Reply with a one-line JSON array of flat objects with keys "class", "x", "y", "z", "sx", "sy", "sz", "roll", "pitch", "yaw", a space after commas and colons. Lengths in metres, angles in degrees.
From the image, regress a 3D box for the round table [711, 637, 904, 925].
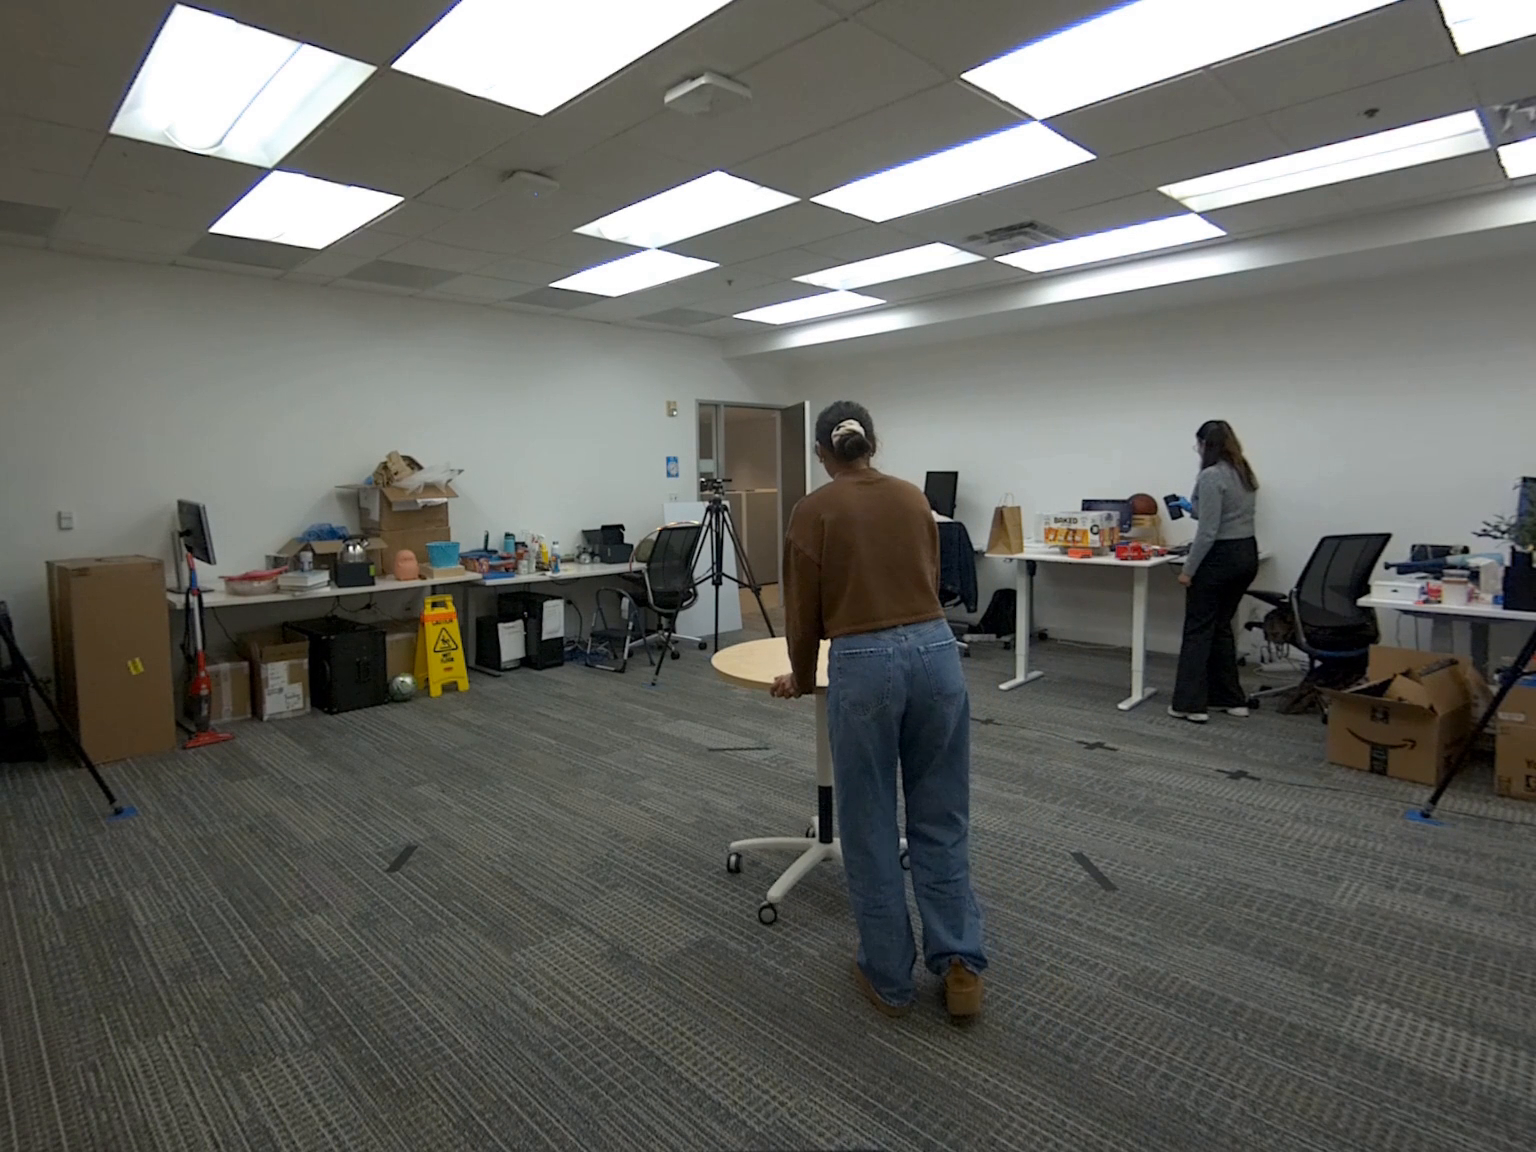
[{"class": "round table", "x": 0.199, "y": 0.670, "z": 2.936, "sx": 0.763, "sy": 0.790, "sz": 0.768, "roll": -1, "pitch": 5, "yaw": -2}]
